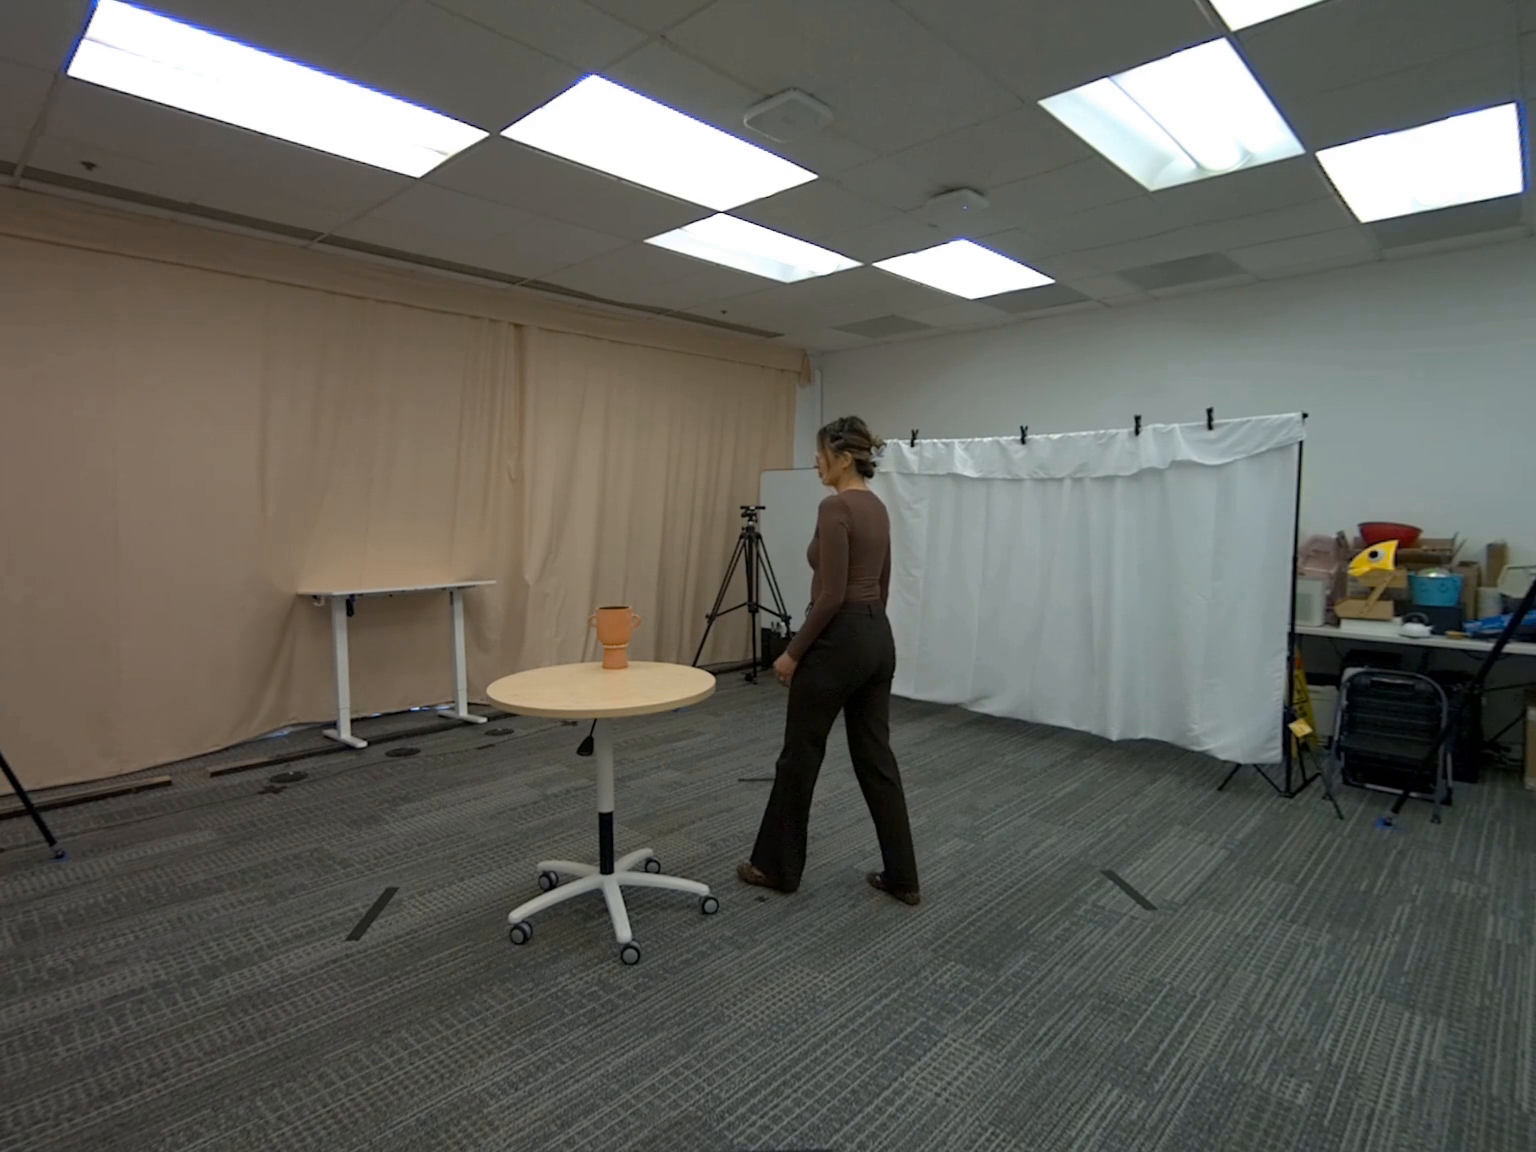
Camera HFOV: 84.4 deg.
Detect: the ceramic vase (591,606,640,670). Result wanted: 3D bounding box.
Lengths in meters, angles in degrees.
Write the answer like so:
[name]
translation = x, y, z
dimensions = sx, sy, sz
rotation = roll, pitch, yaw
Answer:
[ceramic vase]
translation = -0.568, 0.229, 3.127
dimensions = 0.164, 0.219, 0.130
rotation = 3, 5, 40
